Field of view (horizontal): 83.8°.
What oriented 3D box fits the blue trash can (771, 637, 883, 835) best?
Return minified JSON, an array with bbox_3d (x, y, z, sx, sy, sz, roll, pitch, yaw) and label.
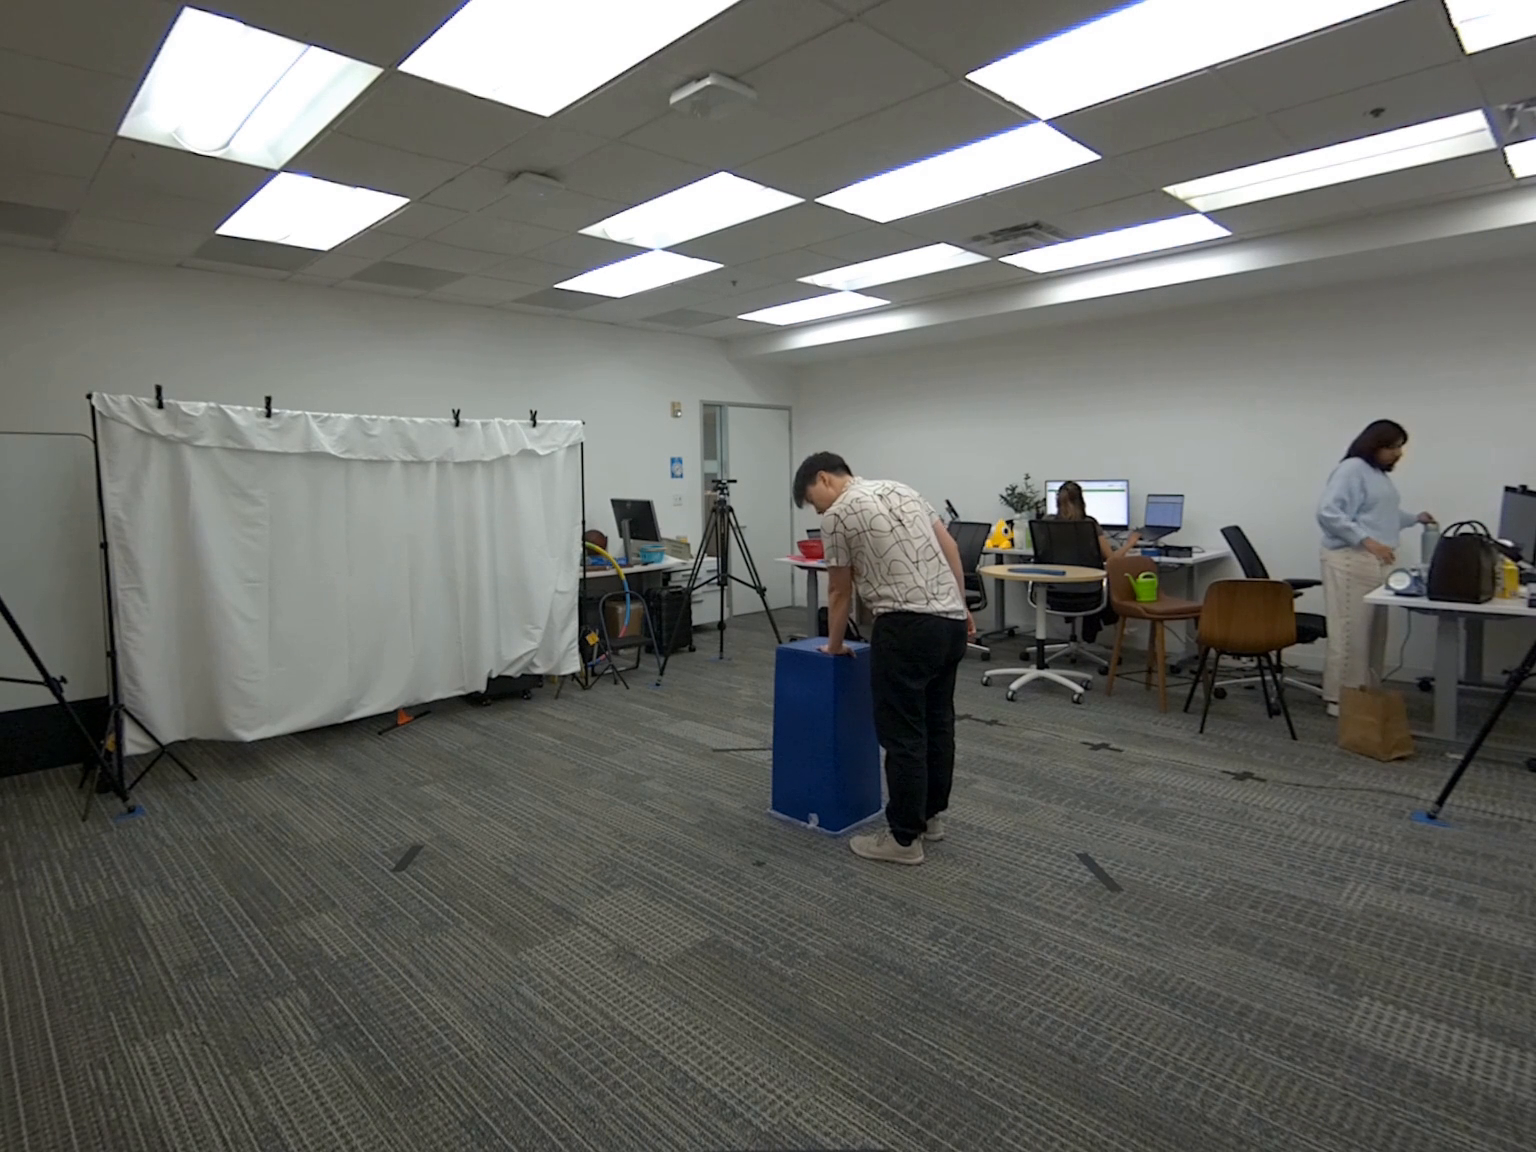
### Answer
[{"bbox_3d":[0.253,0.640,3.549,0.390,0.711,0.364,4,5,43],"label":"blue trash can"}]
